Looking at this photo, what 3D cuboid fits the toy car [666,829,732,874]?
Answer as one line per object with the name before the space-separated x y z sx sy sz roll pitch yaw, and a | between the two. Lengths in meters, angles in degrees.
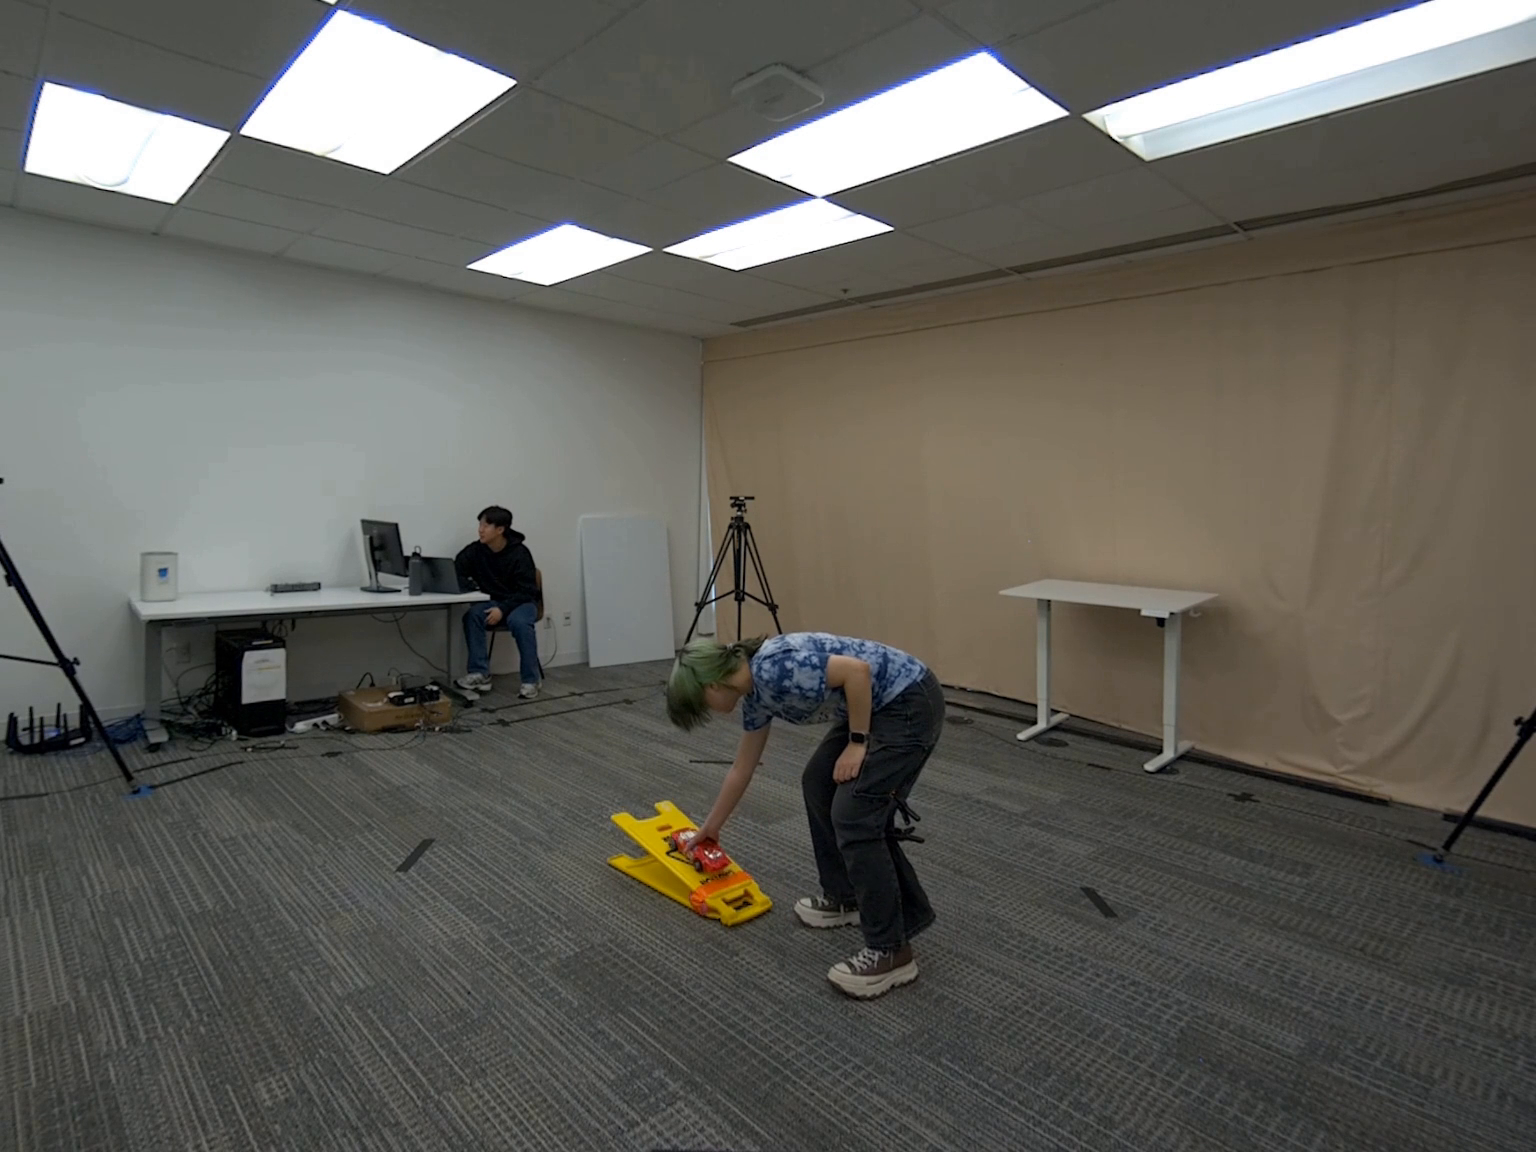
toy car | -0.247 0.974 2.963 0.127 0.083 0.261 0 8 -43
